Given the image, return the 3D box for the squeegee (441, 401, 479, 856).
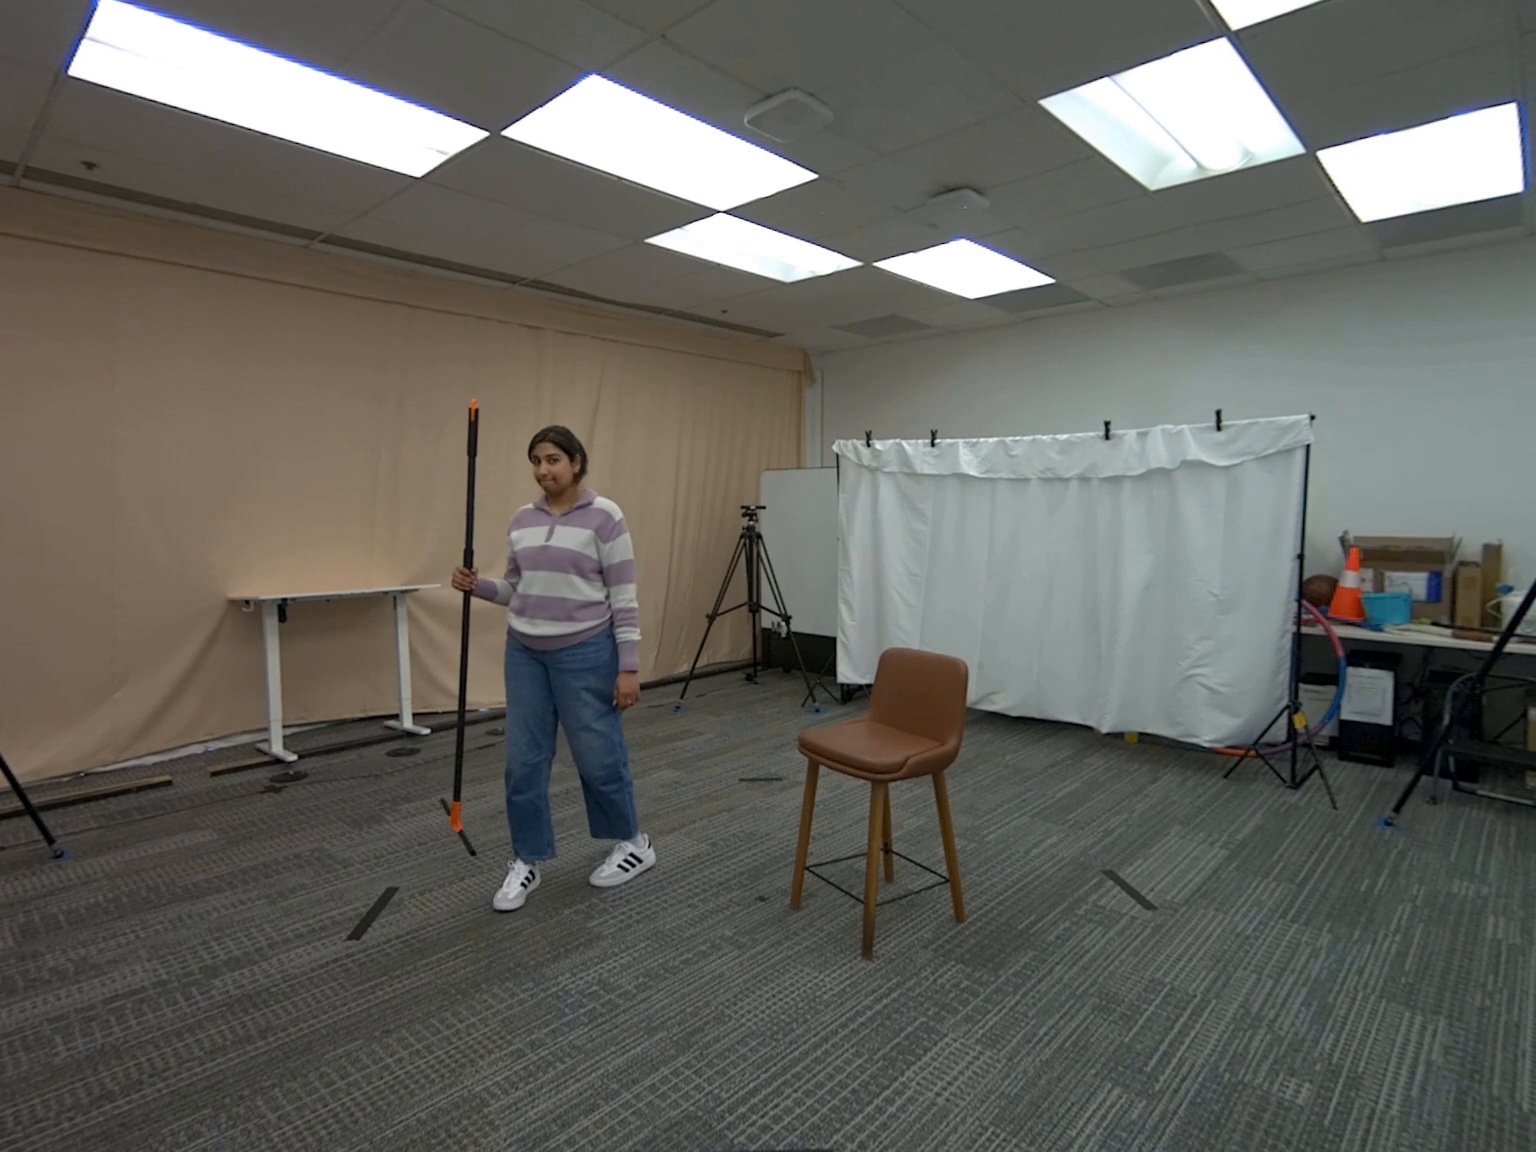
[{"bbox_3d":[-1.048,0.187,2.923,0.051,1.531,0.451,1,9,-29],"label":"squeegee"}]
